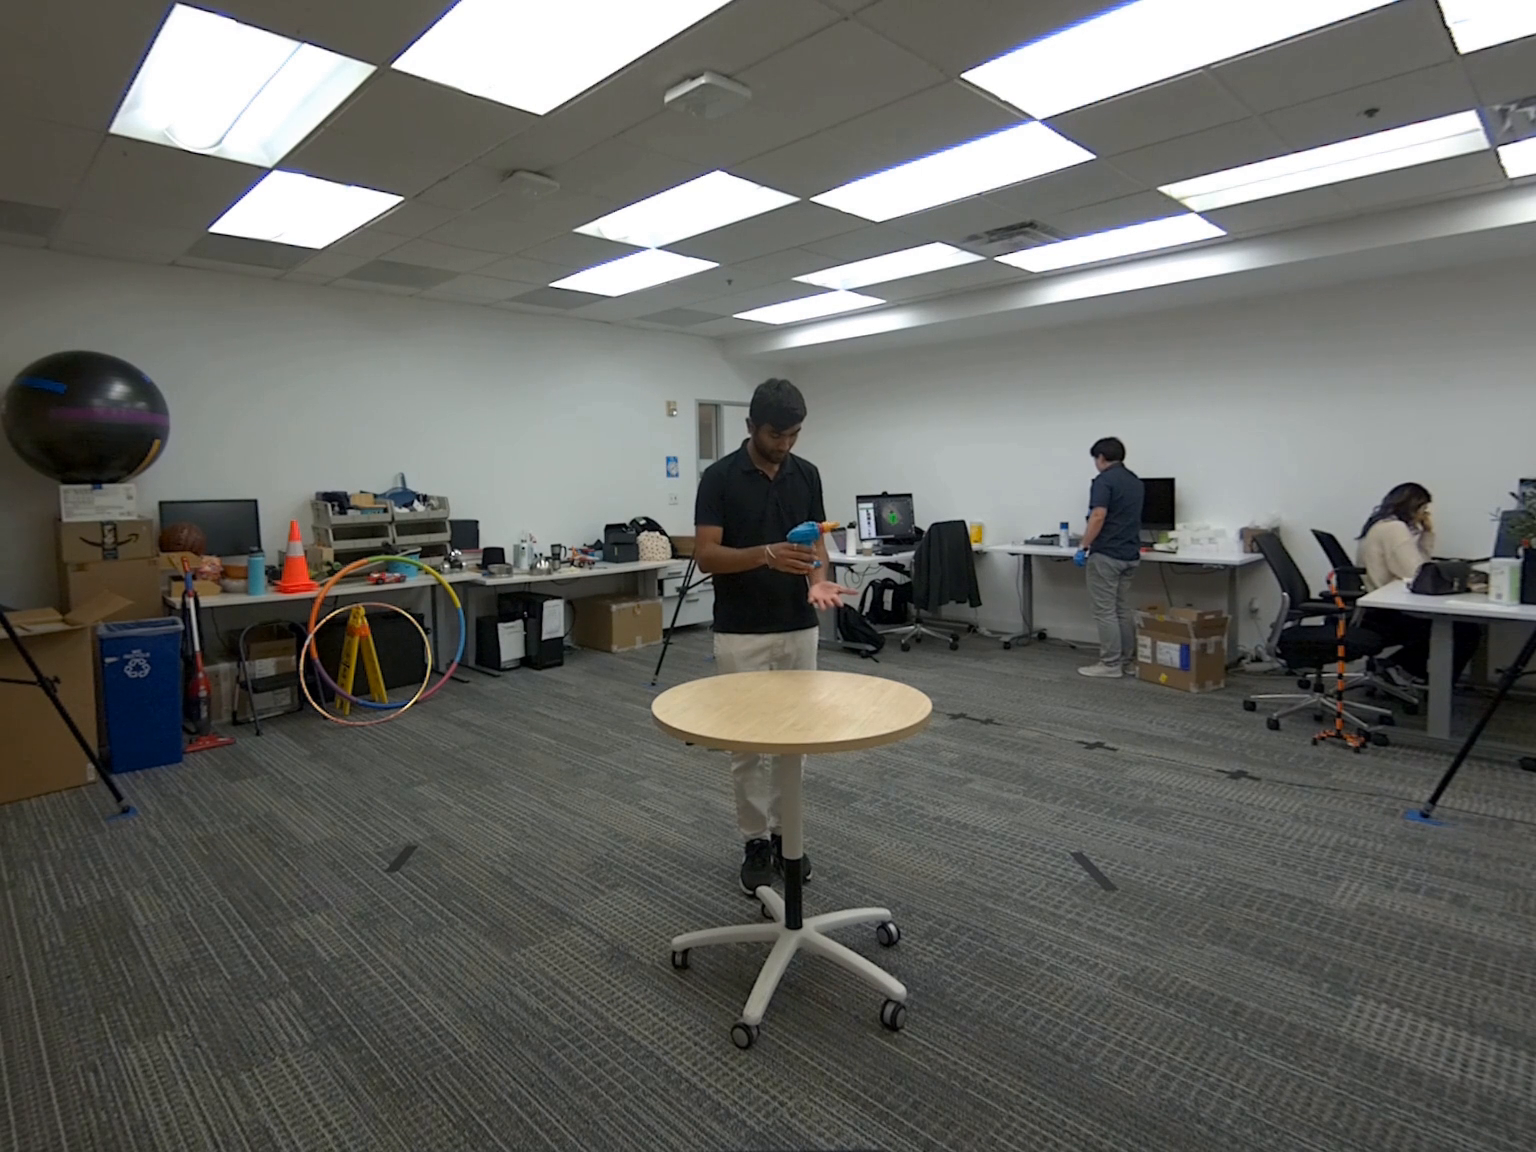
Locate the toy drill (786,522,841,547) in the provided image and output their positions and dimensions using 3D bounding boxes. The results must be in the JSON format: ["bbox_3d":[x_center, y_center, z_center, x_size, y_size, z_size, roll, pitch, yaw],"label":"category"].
[{"bbox_3d":[0.147,-0.100,2.621,0.169,0.145,0.062,-19,7,-4],"label":"toy drill"}]
